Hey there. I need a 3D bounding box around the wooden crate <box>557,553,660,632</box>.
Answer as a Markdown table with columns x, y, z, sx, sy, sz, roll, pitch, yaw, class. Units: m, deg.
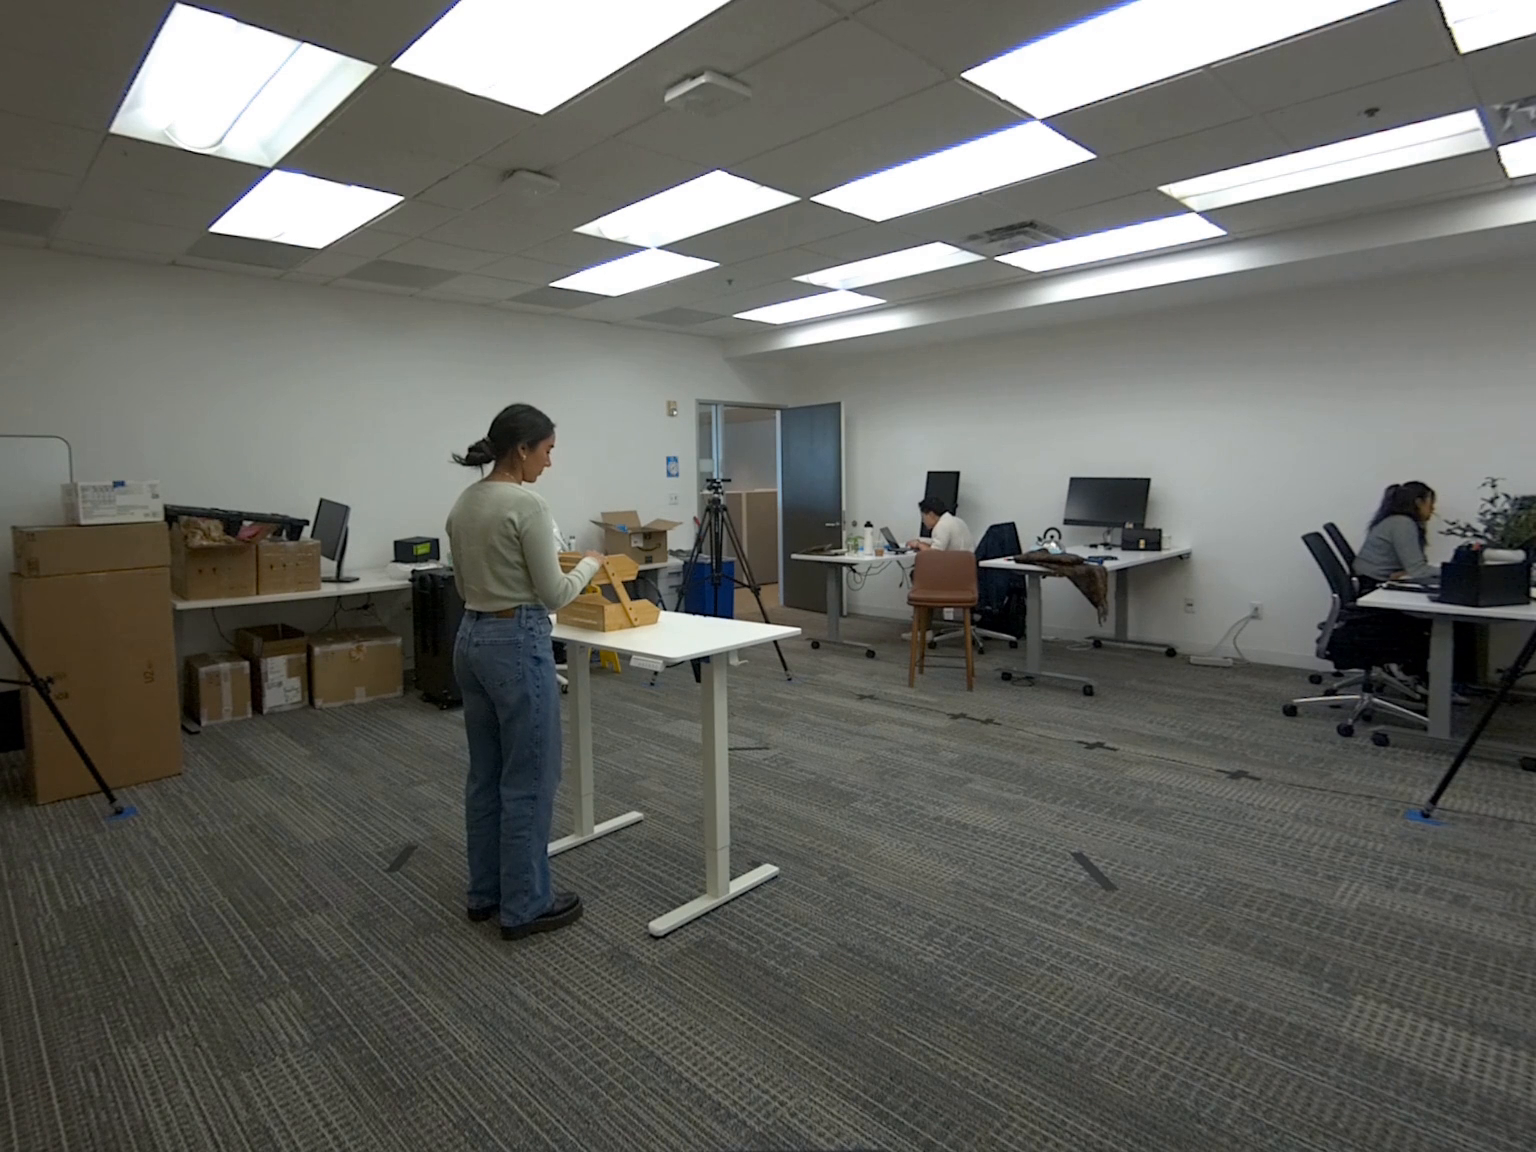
| x | y | z | sx | sy | sz | roll | pitch | yaw | class |
| --- | --- | --- | --- | --- | --- | --- | --- | --- | --- |
| -0.601 | 0.044 | 3.090 | 0.334 | 0.272 | 0.294 | 4 | 7 | 45 | wooden crate |
